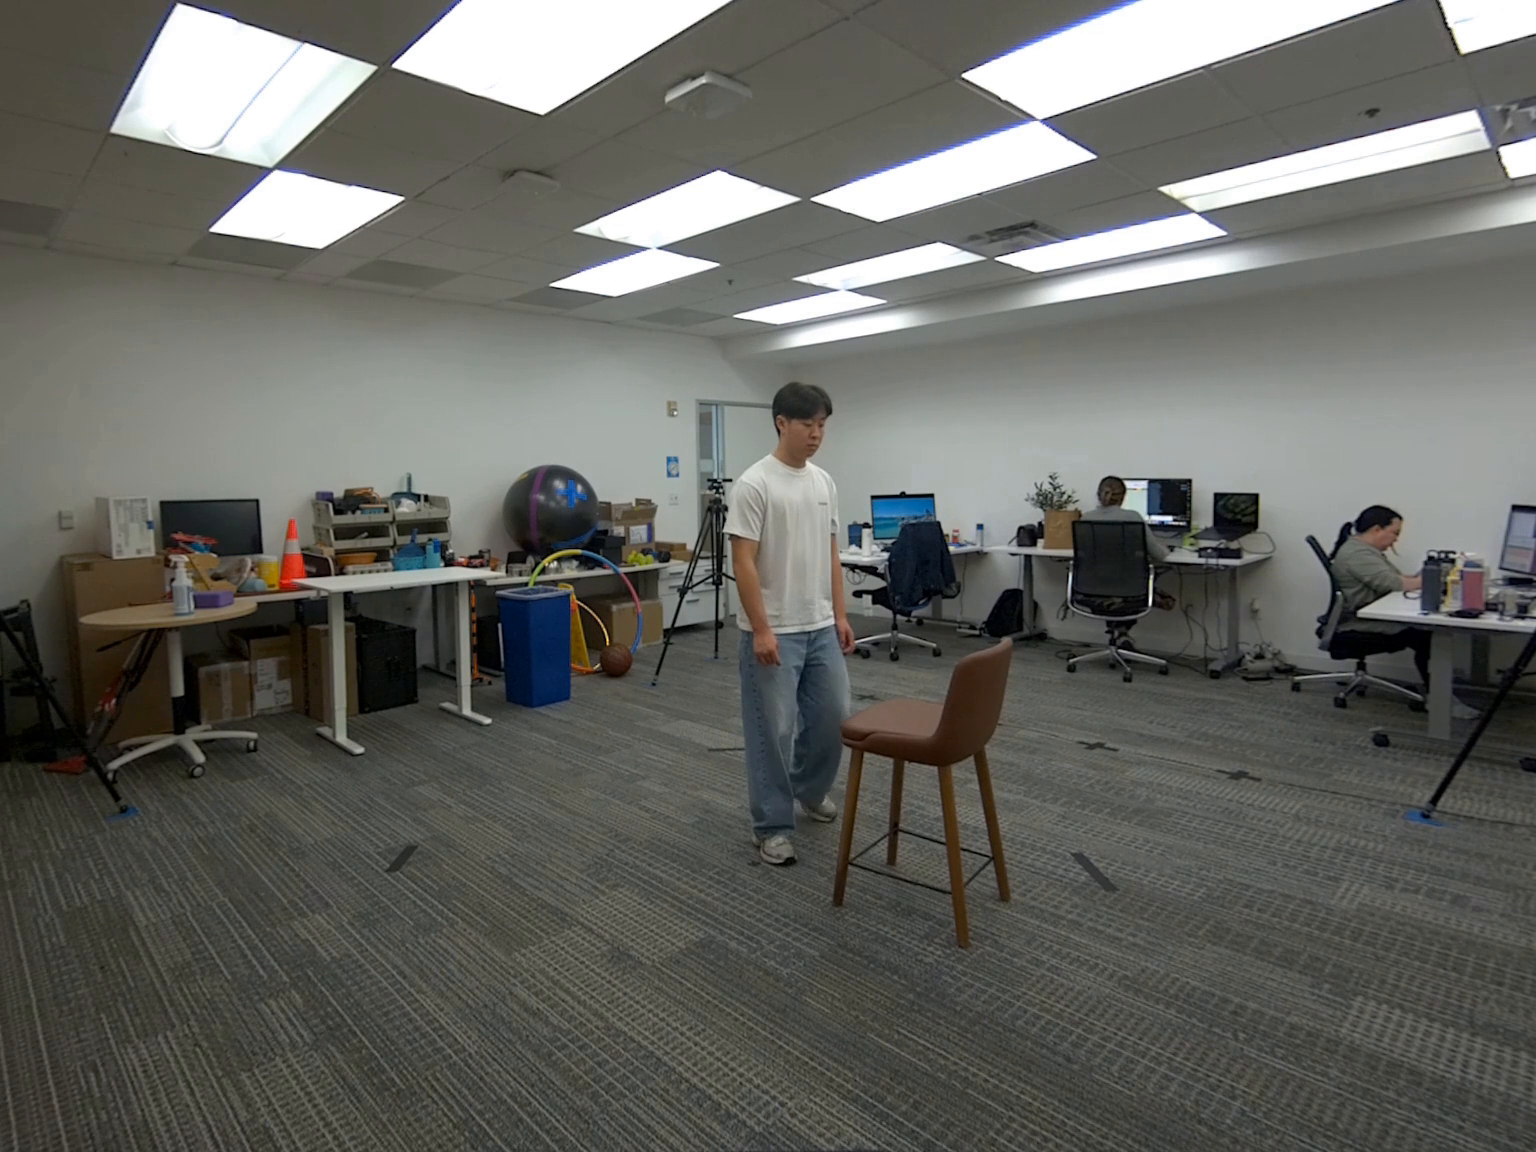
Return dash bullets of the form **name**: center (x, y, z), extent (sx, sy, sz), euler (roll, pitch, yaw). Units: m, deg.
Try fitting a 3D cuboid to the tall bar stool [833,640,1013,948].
- **tall bar stool**: center (0.514, 0.637, 2.774), extent (0.482, 0.885, 0.445), euler (6, 7, 37)
